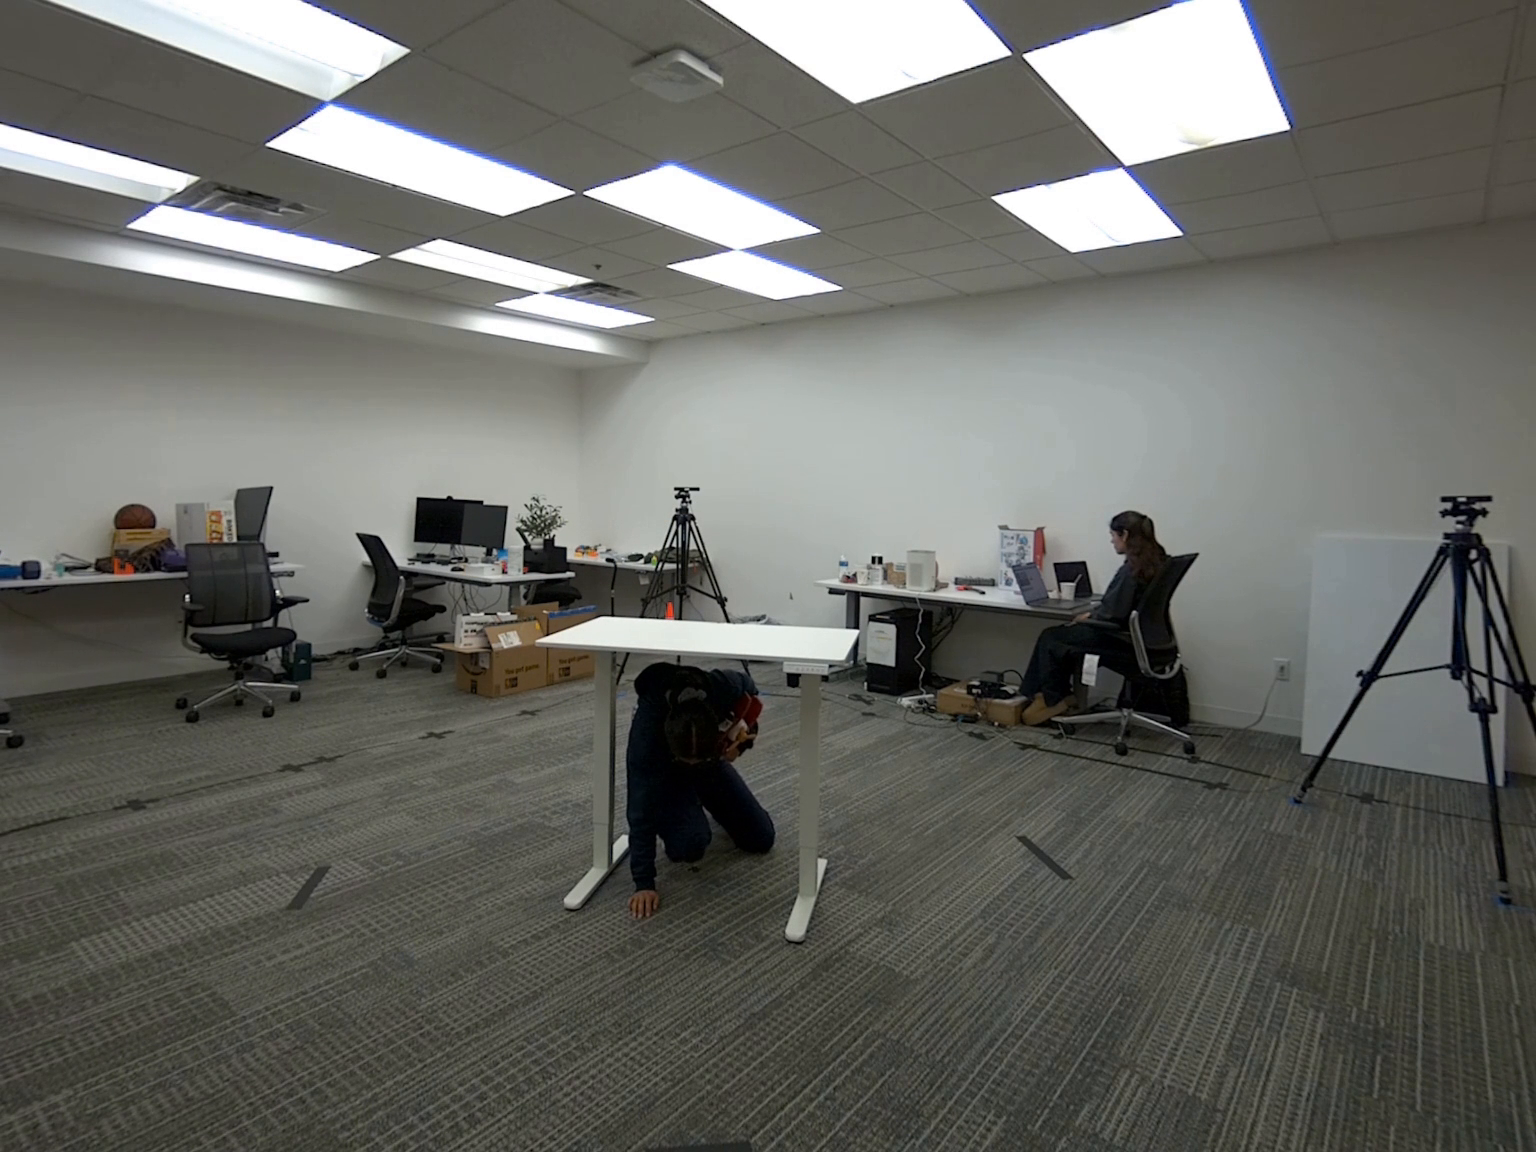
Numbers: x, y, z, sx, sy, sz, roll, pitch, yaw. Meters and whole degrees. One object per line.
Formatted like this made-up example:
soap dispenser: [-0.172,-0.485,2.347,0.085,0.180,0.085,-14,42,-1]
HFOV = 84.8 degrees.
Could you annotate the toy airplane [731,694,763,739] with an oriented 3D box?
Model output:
toy airplane: [-0.153,0.500,3.197,0.254,0.266,0.150,-26,-48,31]
